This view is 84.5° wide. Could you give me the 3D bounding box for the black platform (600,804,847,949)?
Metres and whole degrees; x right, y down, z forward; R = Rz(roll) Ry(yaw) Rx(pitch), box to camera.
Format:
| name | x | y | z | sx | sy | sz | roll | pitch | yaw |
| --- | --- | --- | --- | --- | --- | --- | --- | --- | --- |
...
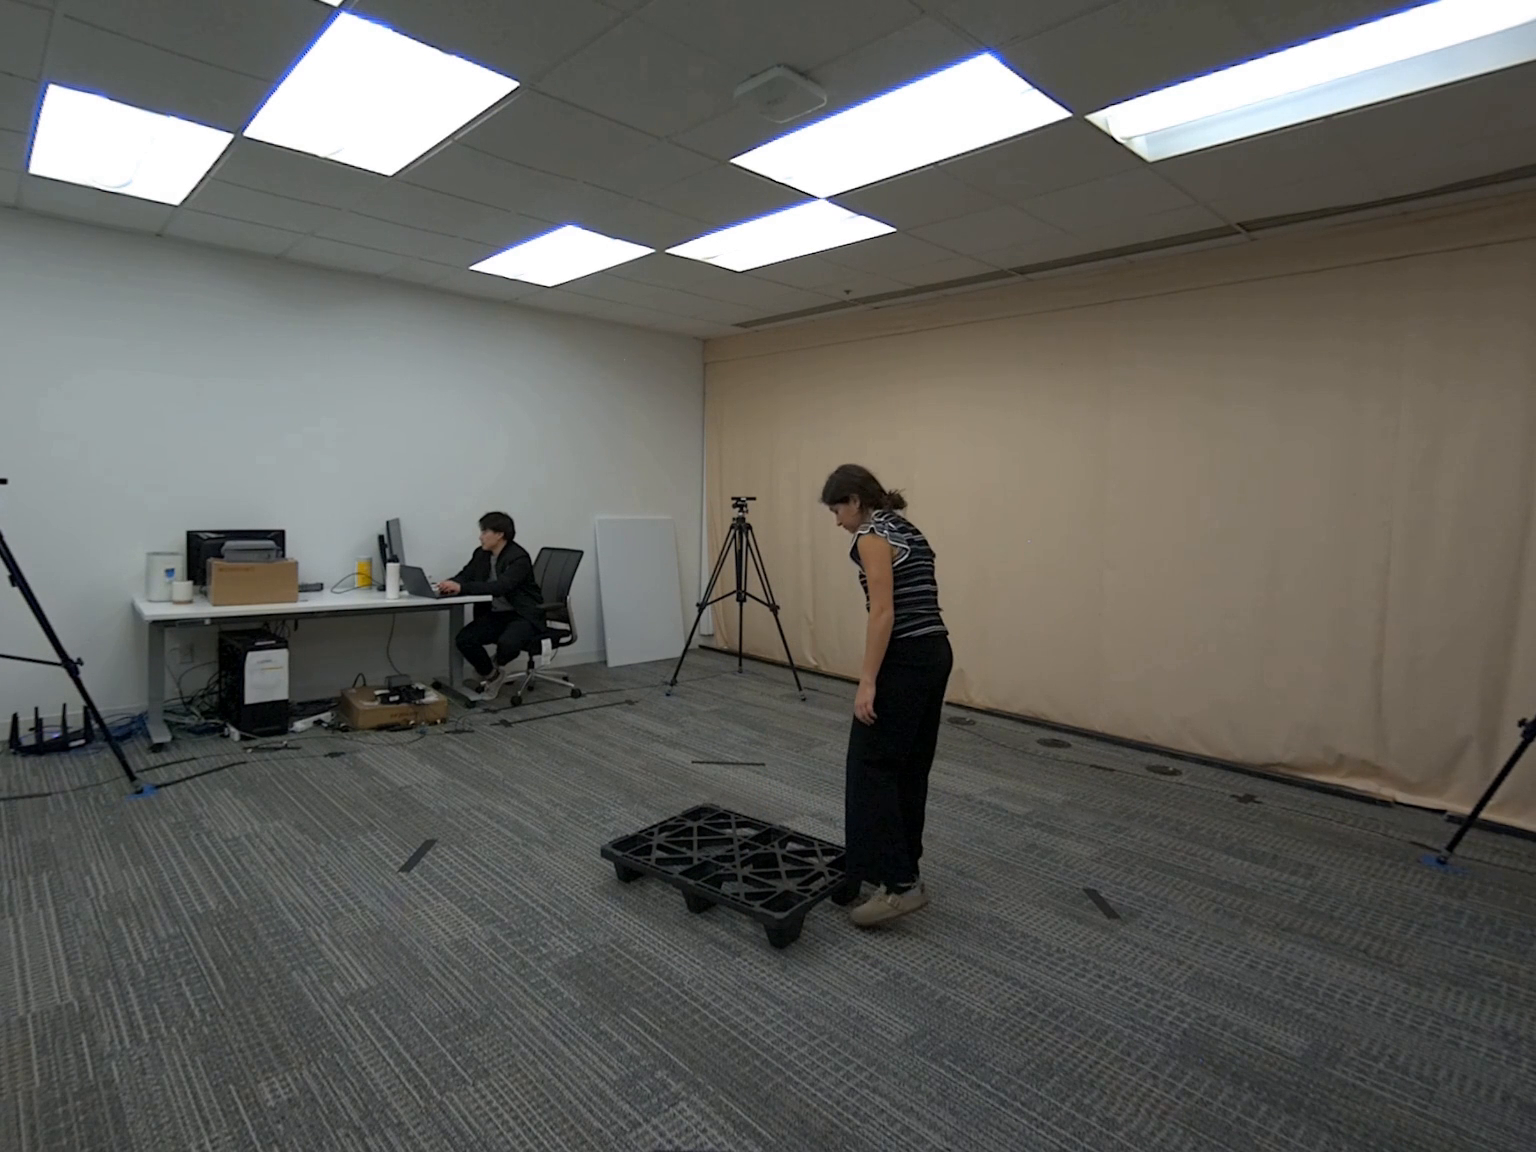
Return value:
| name | x | y | z | sx | sy | sz | roll | pitch | yaw |
| --- | --- | --- | --- | --- | --- | --- | --- | --- | --- |
| black platform | -0.119 | 1.050 | 2.999 | 0.825 | 0.143 | 0.592 | 5 | 7 | 38 |
